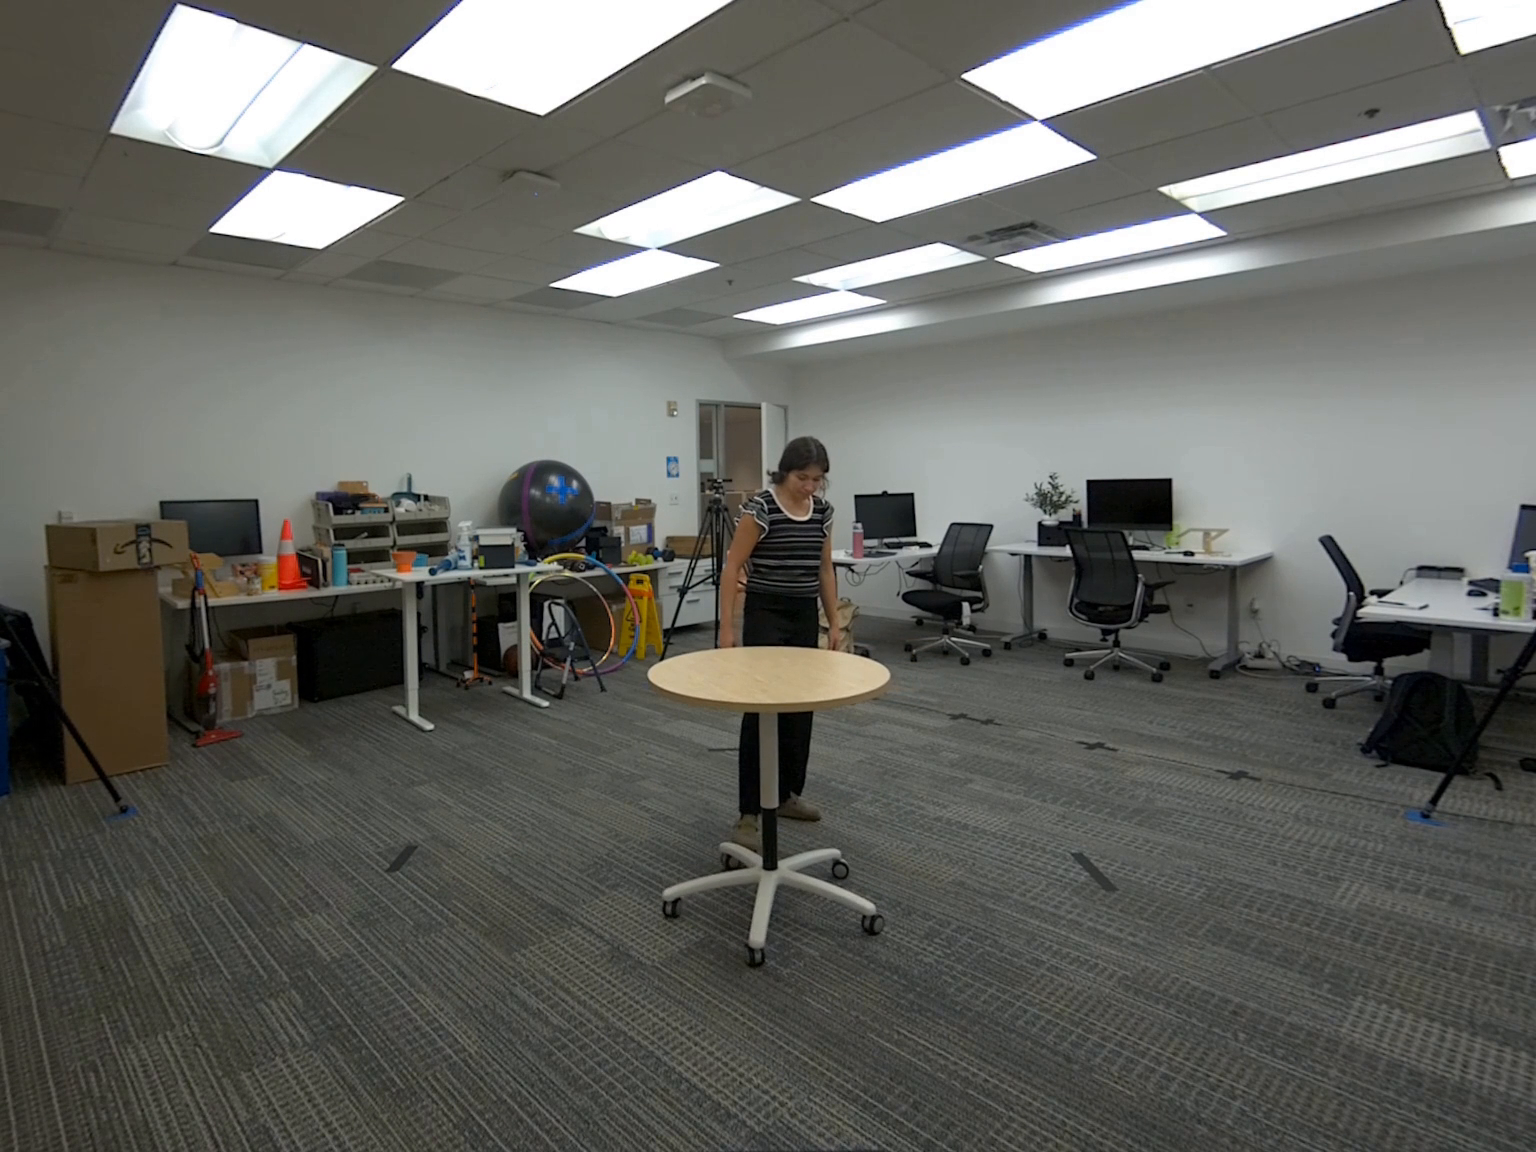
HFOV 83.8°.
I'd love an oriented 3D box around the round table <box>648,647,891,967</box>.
[{"bbox_3d":[-0.006,0.693,2.745,0.784,0.783,0.790,0,6,-2],"label":"round table"}]
